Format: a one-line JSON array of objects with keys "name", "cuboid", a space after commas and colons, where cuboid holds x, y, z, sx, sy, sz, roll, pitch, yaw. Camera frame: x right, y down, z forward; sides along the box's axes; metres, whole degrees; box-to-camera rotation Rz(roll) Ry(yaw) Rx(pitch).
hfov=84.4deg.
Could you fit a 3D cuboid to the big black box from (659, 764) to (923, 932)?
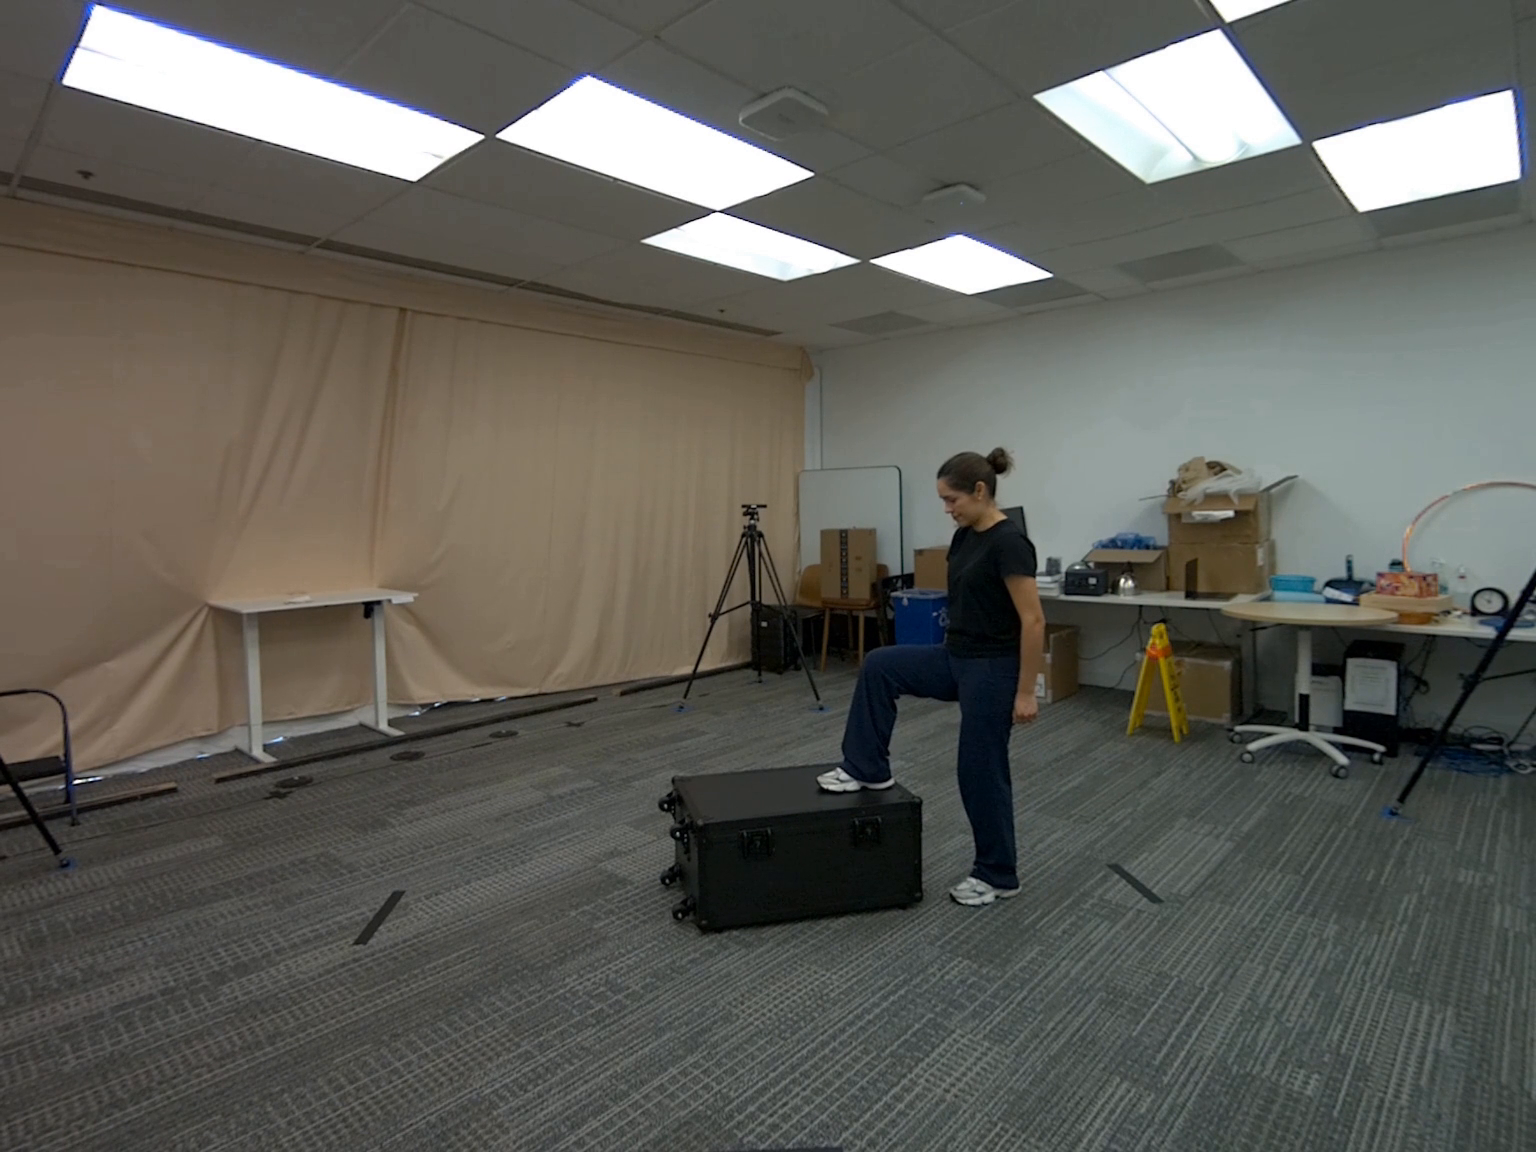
[{"name": "big black box", "cuboid": [0.068, 0.941, 3.018, 0.849, 0.395, 0.530, -2, 4, -14]}]
